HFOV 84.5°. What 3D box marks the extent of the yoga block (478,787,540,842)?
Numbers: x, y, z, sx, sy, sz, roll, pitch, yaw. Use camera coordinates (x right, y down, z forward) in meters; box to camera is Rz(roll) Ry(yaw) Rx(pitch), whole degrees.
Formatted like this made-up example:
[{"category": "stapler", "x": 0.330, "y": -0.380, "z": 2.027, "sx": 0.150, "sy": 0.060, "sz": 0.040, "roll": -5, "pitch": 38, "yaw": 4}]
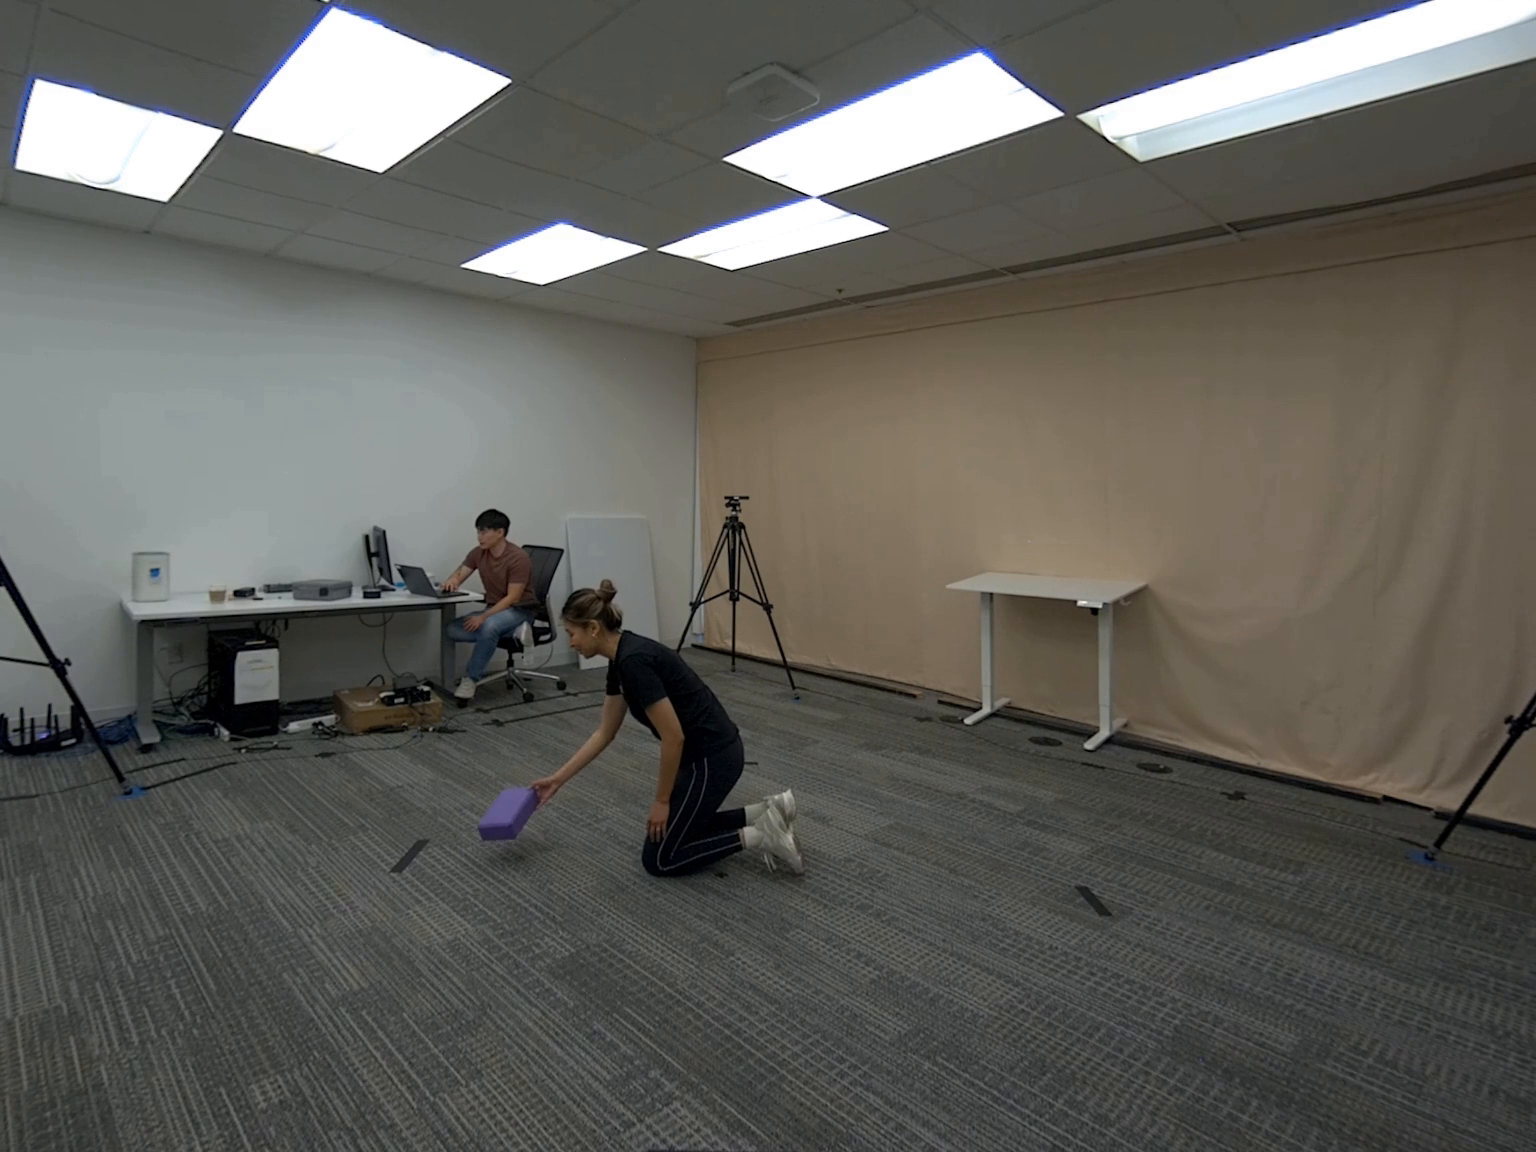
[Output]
[{"category": "yoga block", "x": -0.997, "y": 0.911, "z": 3.220, "sx": 0.151, "sy": 0.075, "sz": 0.230, "roll": -8, "pitch": 19, "yaw": 18}]
